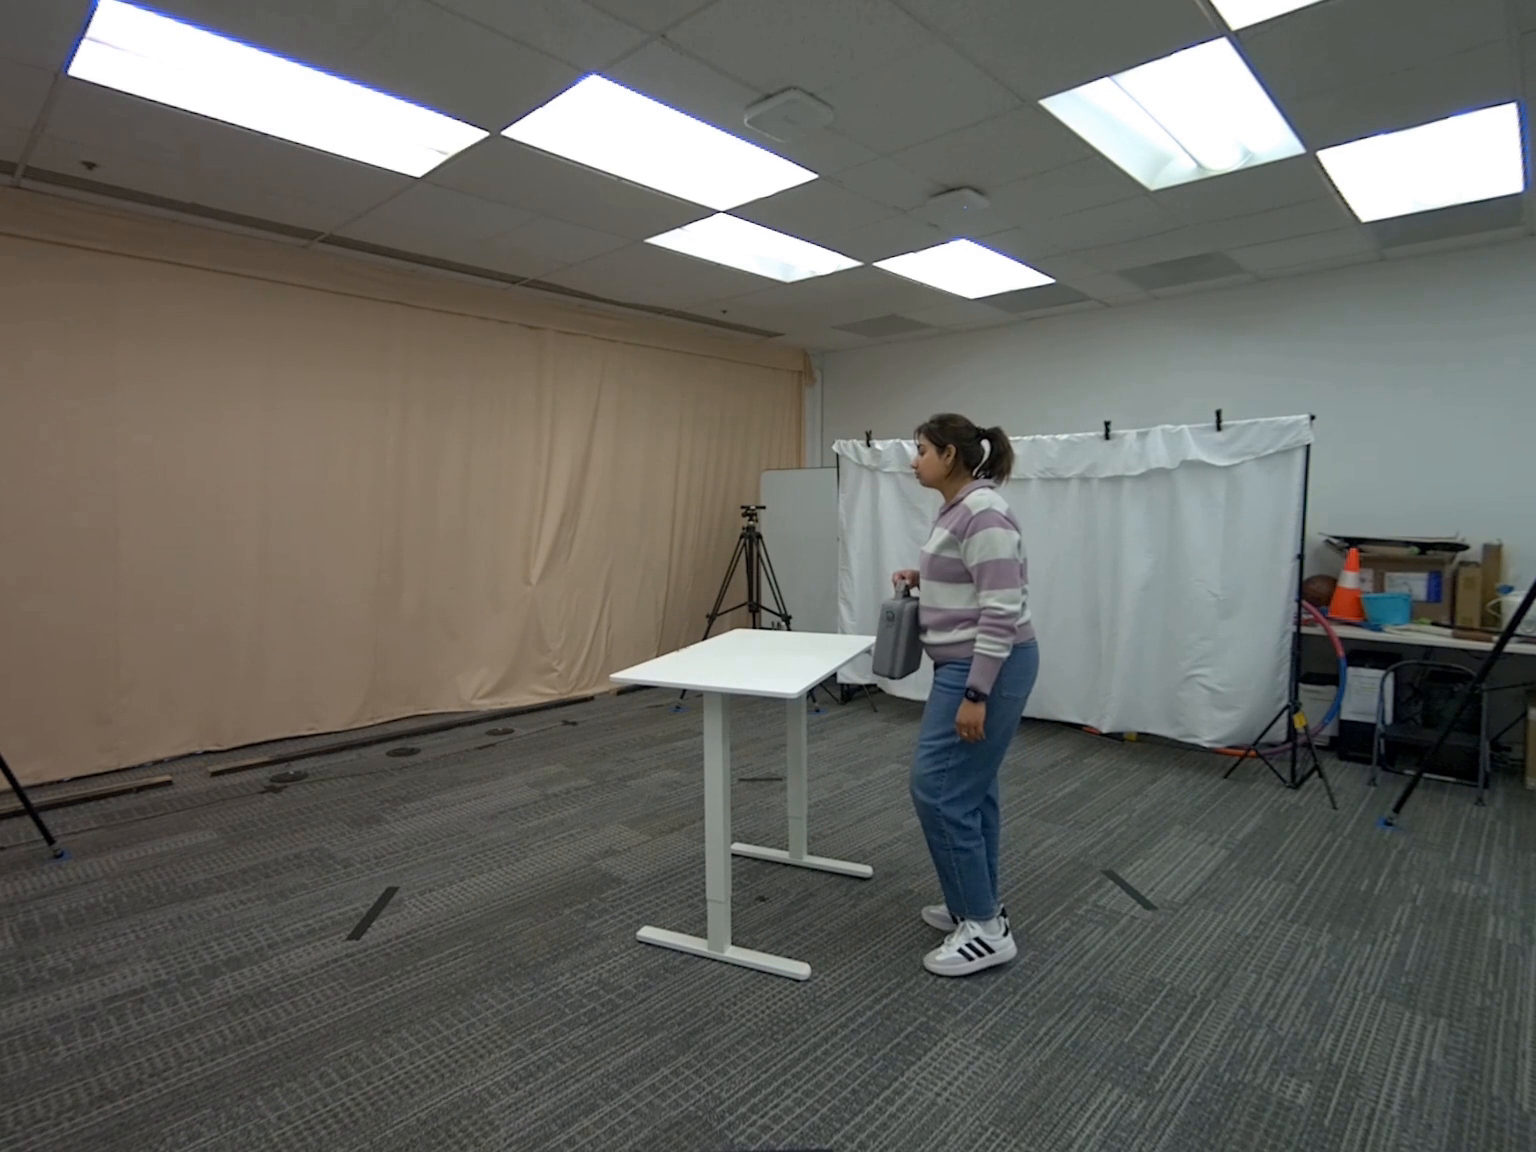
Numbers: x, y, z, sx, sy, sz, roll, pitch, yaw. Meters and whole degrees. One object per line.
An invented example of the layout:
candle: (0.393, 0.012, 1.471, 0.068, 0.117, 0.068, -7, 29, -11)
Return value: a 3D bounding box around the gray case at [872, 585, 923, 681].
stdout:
gray case: (0.443, 0.199, 2.755, 0.107, 0.260, 0.250, 6, 3, 26)
